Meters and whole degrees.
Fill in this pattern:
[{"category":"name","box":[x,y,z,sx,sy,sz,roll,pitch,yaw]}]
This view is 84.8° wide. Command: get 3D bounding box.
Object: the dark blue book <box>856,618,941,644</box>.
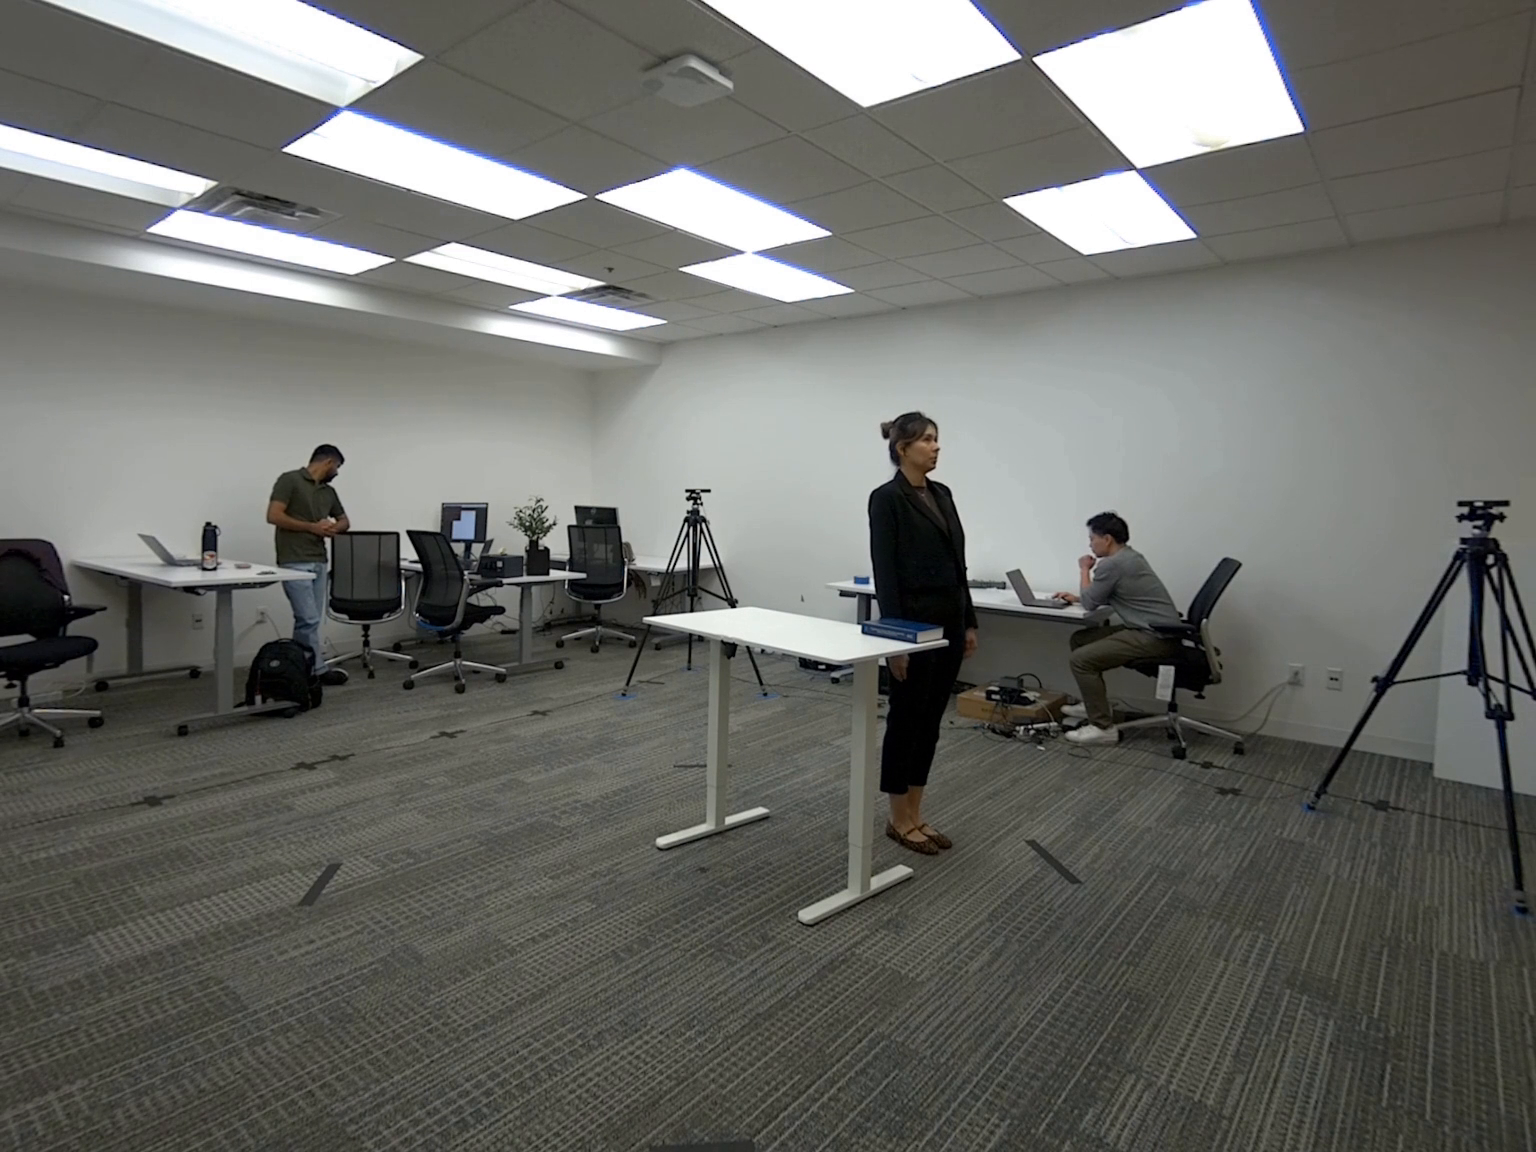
[{"category":"dark blue book","box":[0.467,0.192,3.036,0.158,0.045,0.253,-4,7,-39]}]
